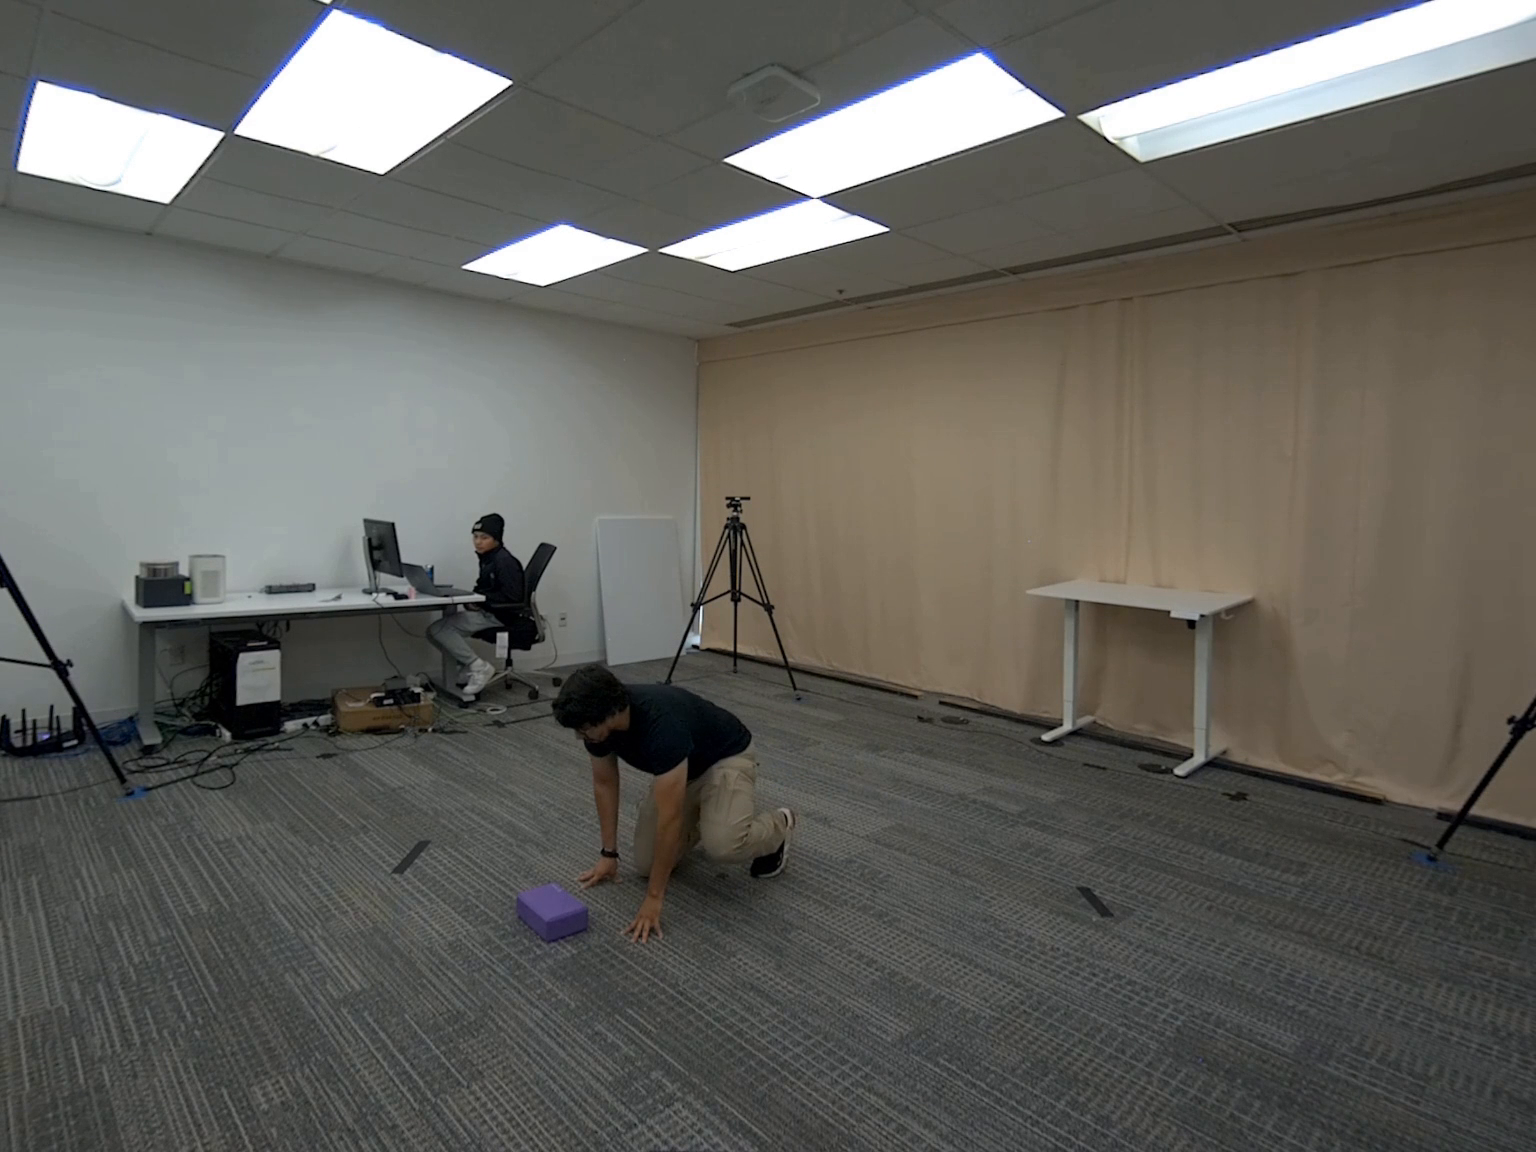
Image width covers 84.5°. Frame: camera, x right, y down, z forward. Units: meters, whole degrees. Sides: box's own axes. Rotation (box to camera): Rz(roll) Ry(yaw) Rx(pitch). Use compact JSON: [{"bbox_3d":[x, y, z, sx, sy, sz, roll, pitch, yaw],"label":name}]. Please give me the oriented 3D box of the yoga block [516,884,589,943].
[{"bbox_3d":[-0.705,1.087,2.736,0.146,0.076,0.235,-5,8,-41],"label":"yoga block"}]
